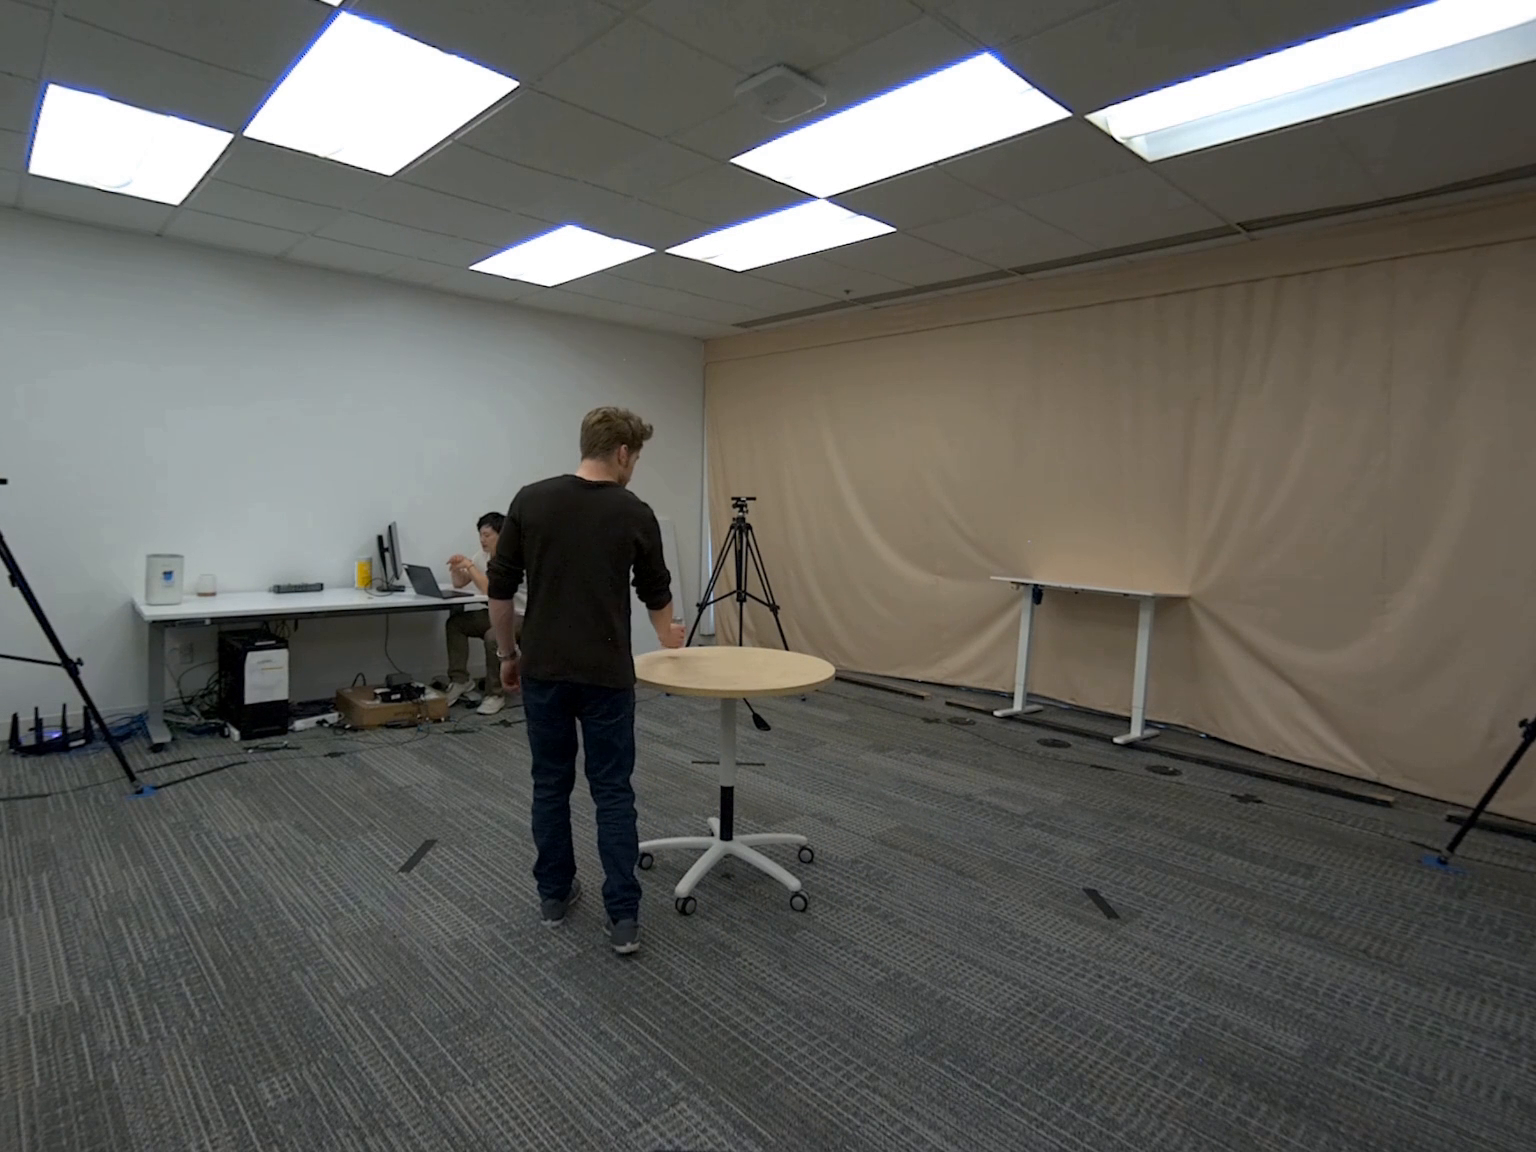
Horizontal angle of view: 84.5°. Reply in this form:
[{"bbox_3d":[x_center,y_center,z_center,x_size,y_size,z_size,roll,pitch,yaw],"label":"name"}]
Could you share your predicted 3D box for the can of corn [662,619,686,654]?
[{"bbox_3d":[-0.355,0.222,3.180,0.074,0.110,0.074,5,6,-2],"label":"can of corn"}]
